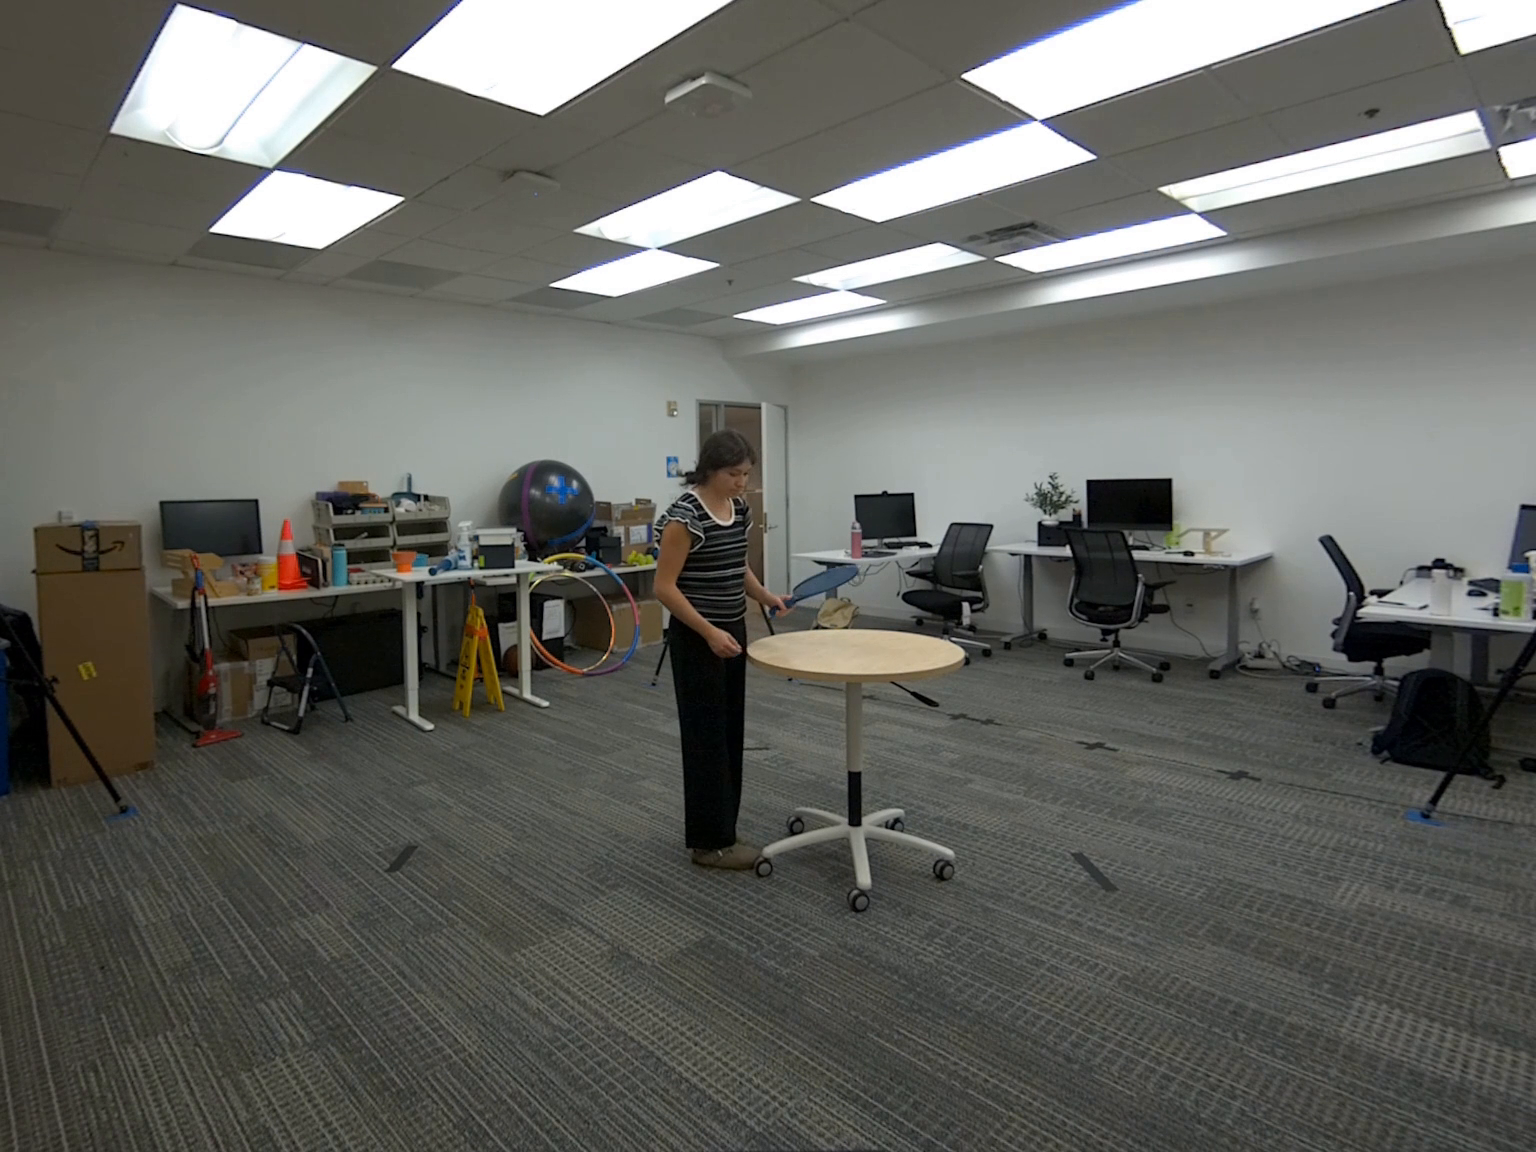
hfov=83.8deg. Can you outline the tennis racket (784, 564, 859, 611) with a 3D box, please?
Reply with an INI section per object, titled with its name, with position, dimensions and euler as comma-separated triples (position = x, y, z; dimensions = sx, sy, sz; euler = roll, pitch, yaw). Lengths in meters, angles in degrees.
[tennis racket]
position = 0.130, 0.066, 3.004
dimensions = 0.207, 0.032, 0.436
euler = 1, -26, -42
